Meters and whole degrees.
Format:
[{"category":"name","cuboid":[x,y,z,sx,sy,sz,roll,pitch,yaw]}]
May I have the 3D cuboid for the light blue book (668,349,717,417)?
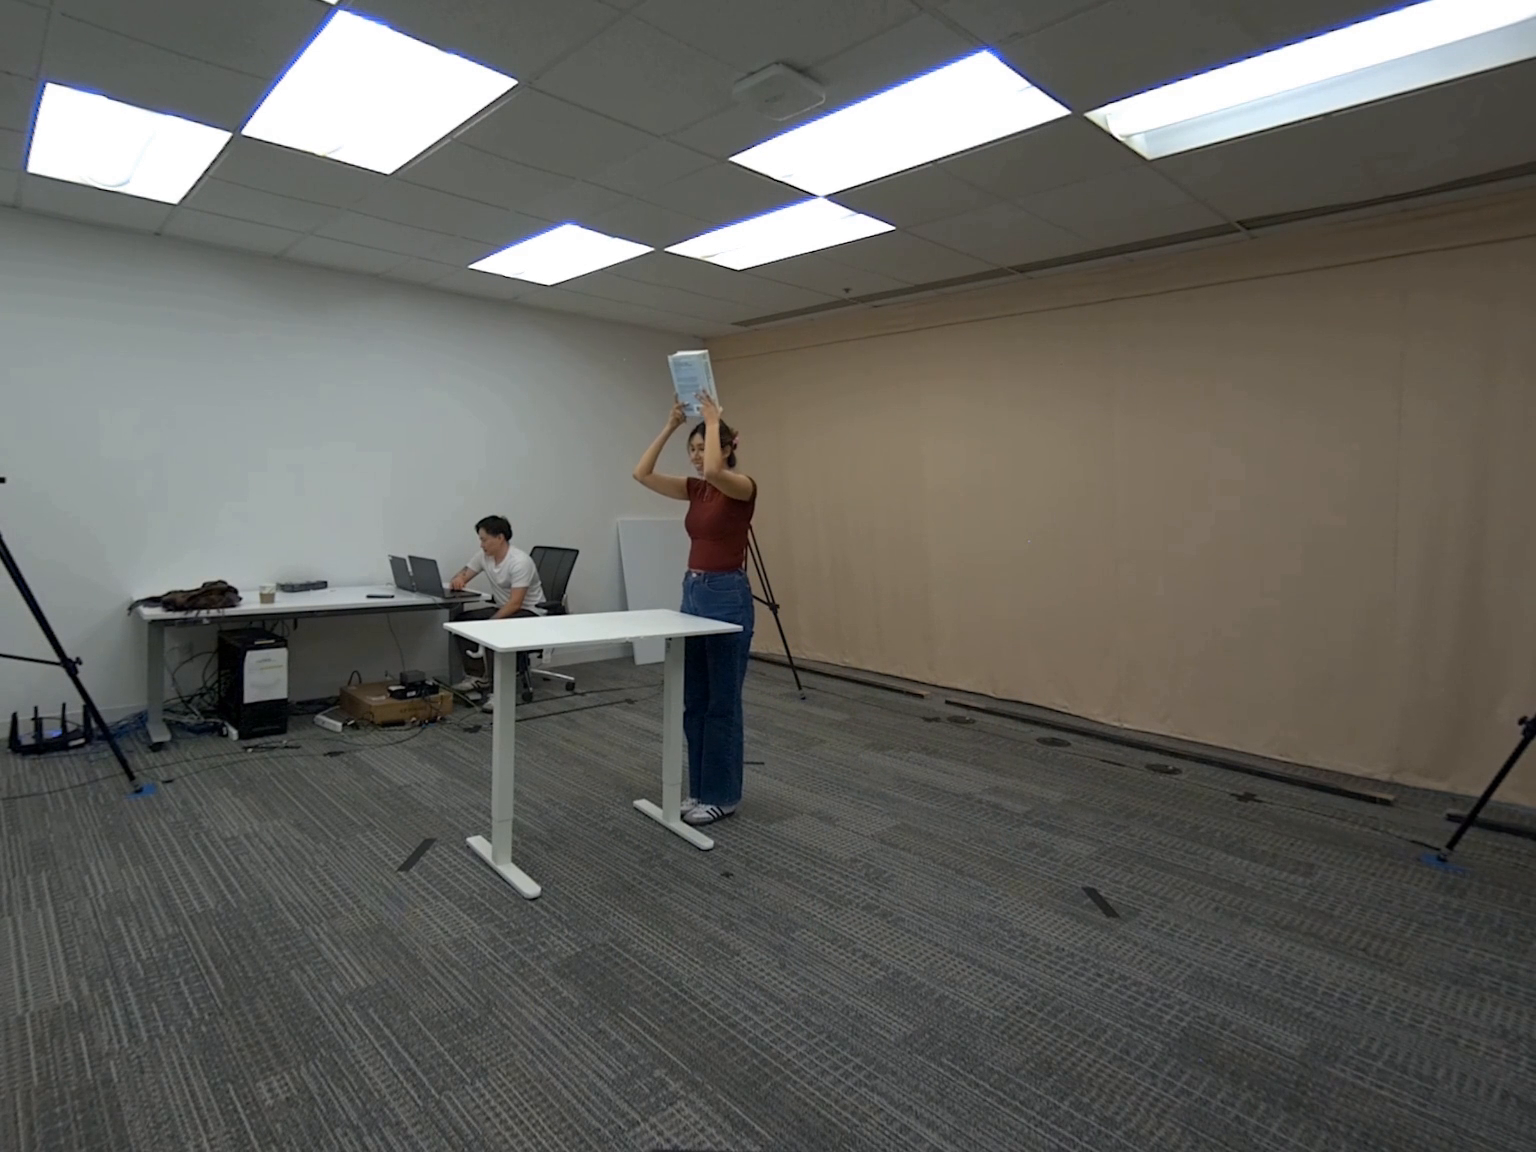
[{"category":"light blue book","cuboid":[-0.317,-0.803,3.518,0.196,0.256,0.058,9,30,41]}]
